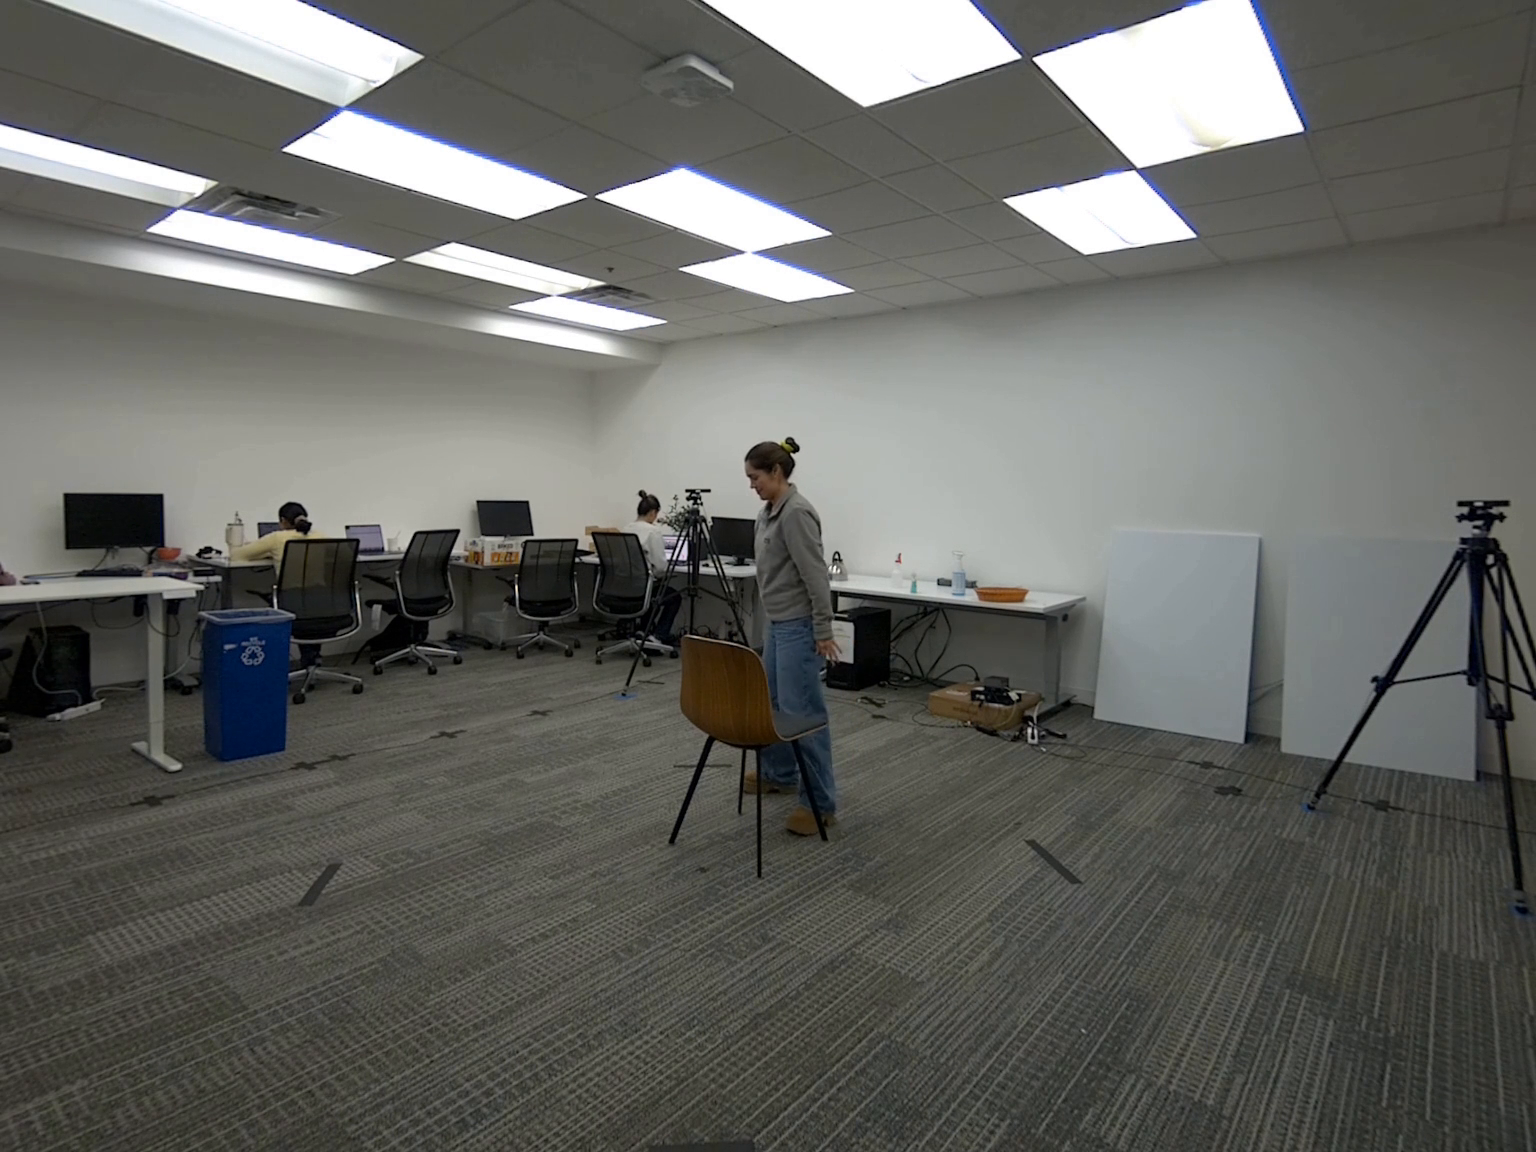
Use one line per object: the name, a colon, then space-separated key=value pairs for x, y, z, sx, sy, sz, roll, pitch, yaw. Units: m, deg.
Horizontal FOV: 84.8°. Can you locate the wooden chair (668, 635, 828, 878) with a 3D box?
wooden chair: x=-0.076 y=0.627 z=3.346 sx=0.494 sy=0.872 sz=0.509 roll=4 pitch=8 yaw=38
